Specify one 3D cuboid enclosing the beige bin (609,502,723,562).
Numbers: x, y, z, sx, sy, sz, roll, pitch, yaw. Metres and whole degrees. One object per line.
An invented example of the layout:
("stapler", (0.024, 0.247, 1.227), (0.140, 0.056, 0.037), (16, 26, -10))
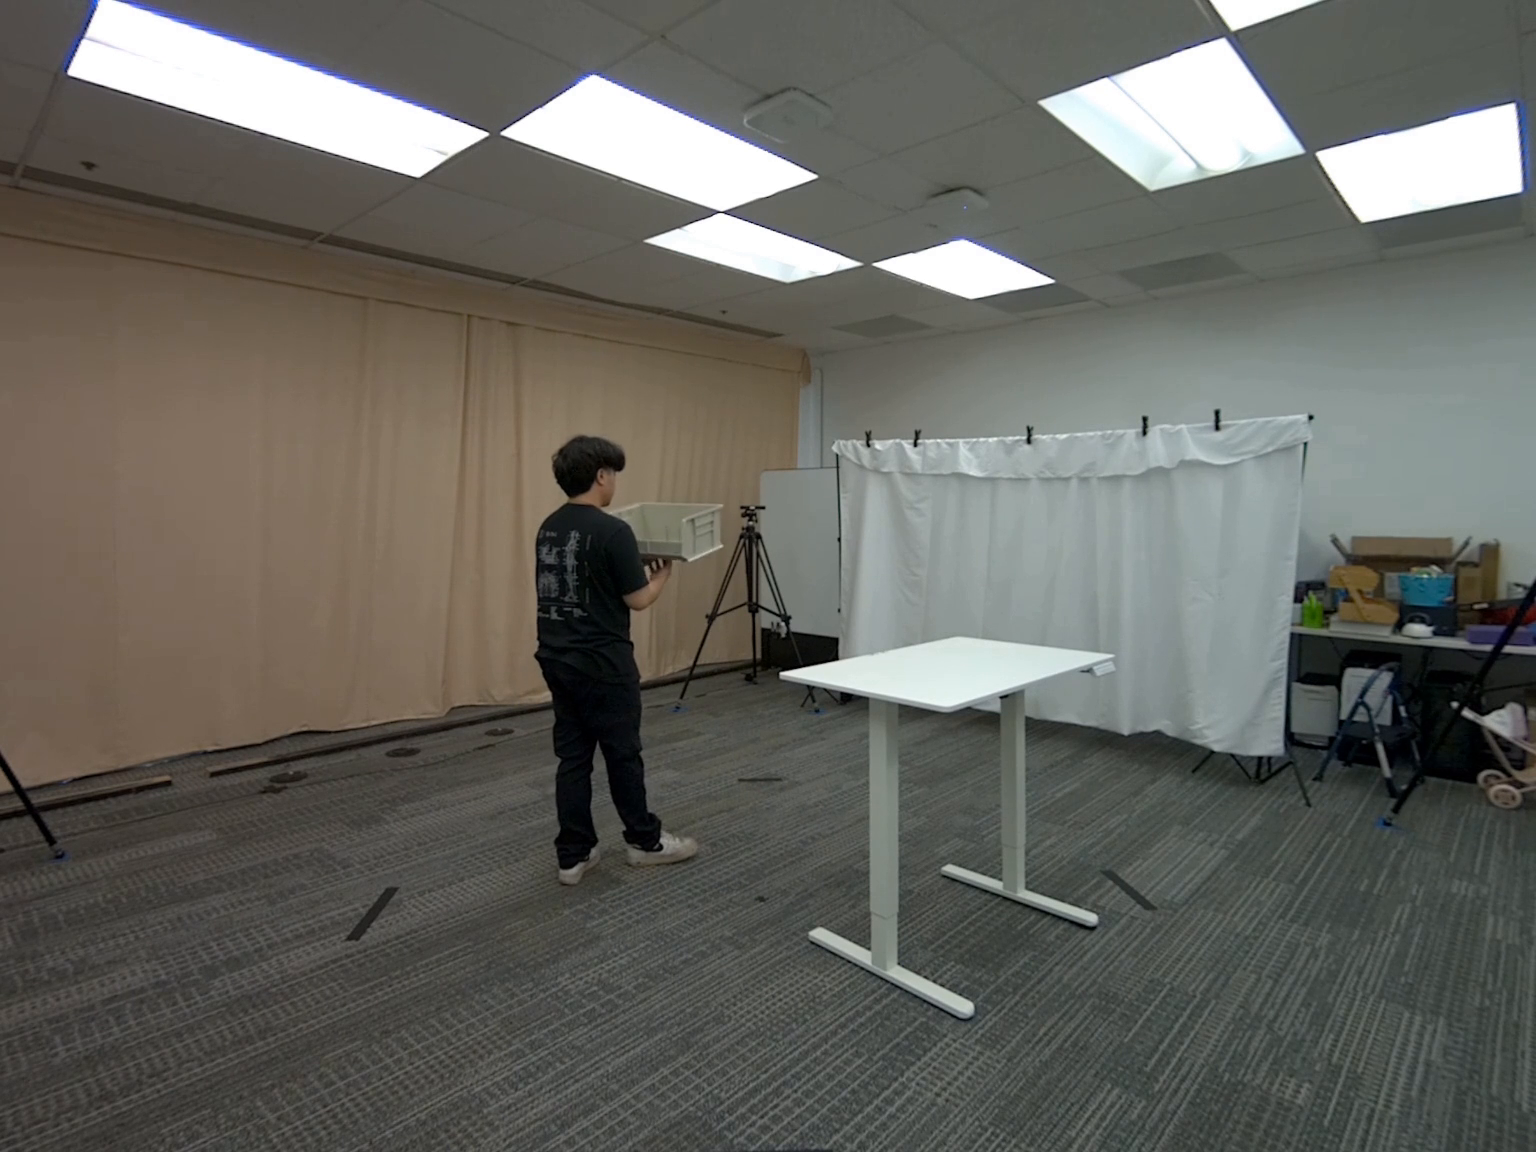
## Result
("beige bin", (-0.441, -0.183, 3.477), (0.433, 0.187, 0.370), (3, 13, 25))
